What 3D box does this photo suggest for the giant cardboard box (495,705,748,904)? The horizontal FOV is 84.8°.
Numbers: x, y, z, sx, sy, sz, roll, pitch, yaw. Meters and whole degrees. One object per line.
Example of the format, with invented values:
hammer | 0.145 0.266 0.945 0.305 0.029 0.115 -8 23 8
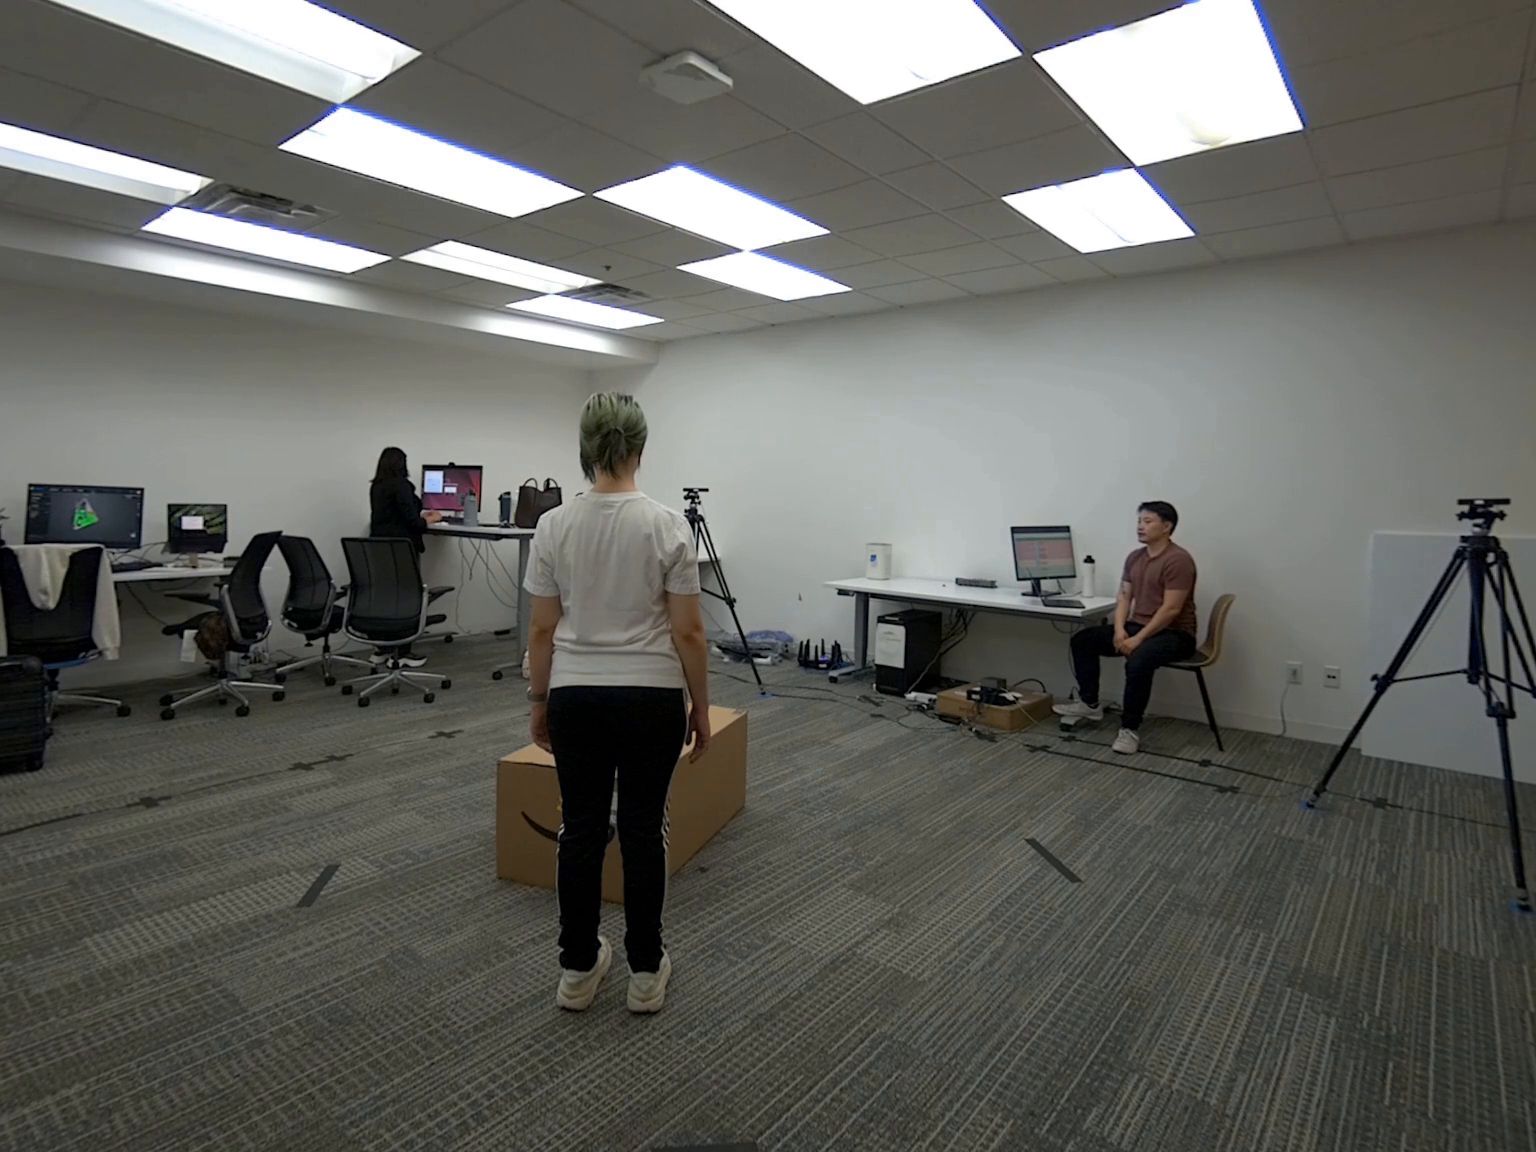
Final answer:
giant cardboard box | -0.535 0.822 3.361 0.590 0.425 1.008 2 5 19
